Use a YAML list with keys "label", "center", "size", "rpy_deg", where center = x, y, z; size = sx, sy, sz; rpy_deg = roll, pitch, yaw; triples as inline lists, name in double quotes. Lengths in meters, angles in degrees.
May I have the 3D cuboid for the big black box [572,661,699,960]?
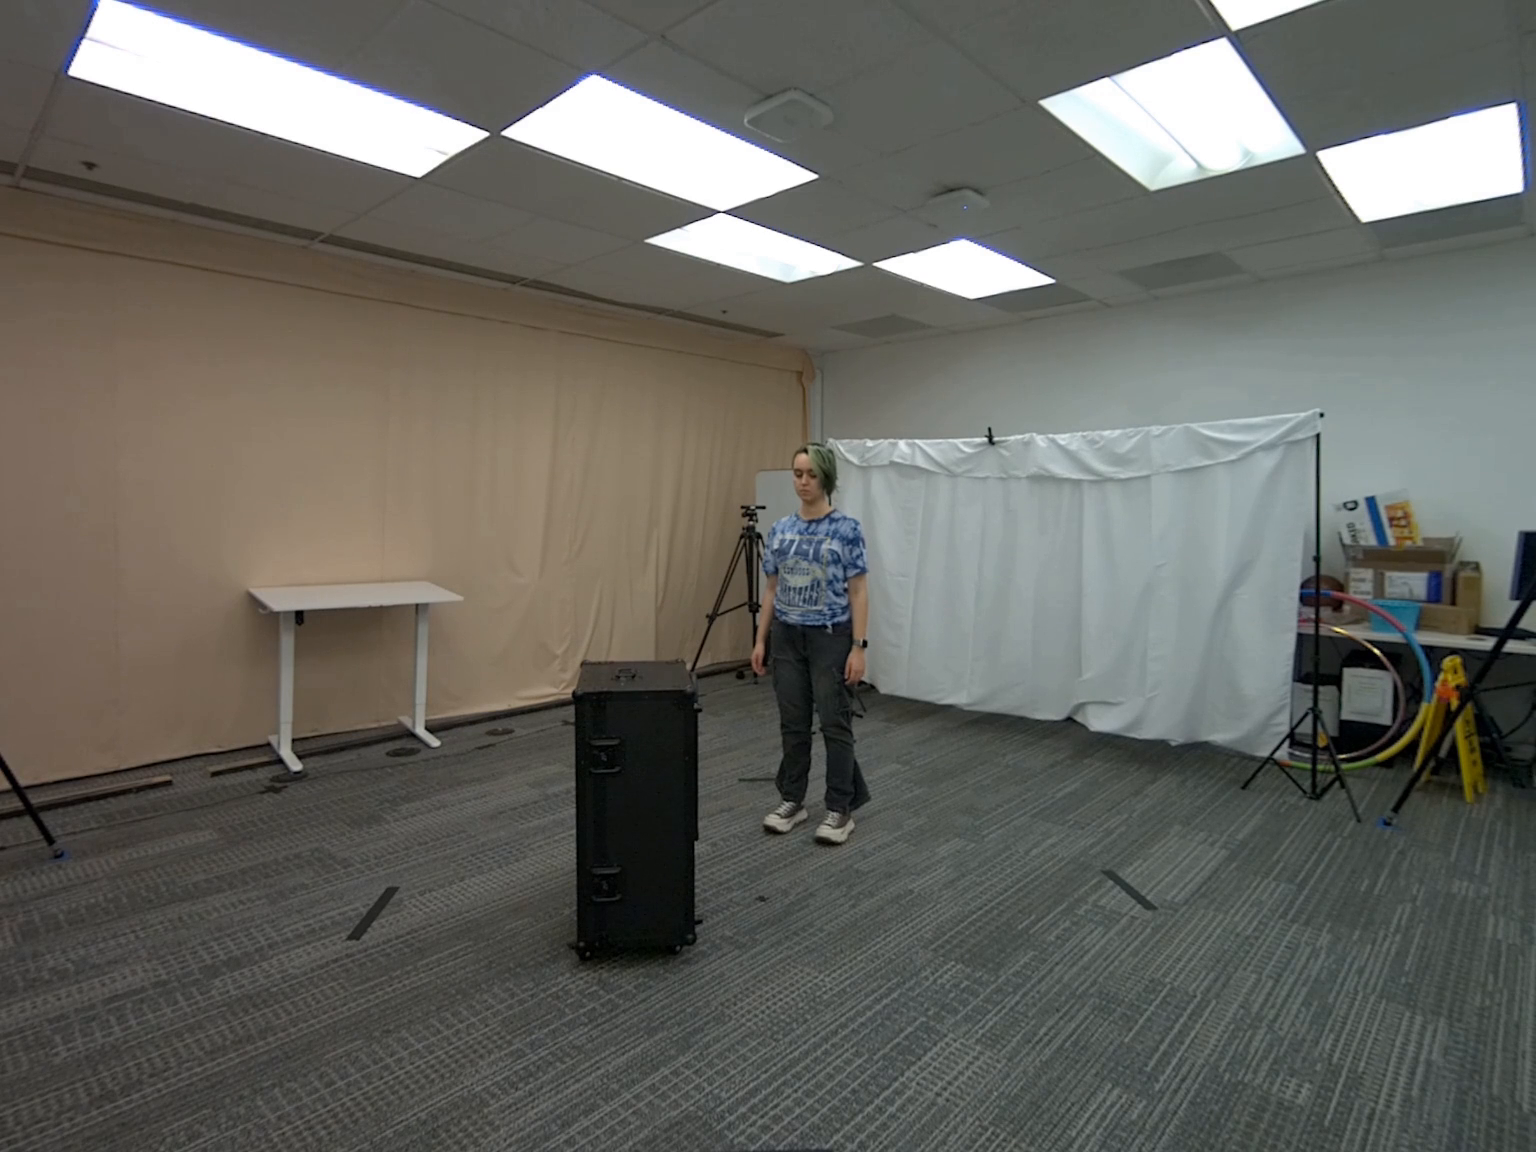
- label: "big black box"
  center: [-0.425, 0.741, 2.741]
  size: [0.393, 0.860, 0.526]
  rpy_deg: [0, 3, -8]
